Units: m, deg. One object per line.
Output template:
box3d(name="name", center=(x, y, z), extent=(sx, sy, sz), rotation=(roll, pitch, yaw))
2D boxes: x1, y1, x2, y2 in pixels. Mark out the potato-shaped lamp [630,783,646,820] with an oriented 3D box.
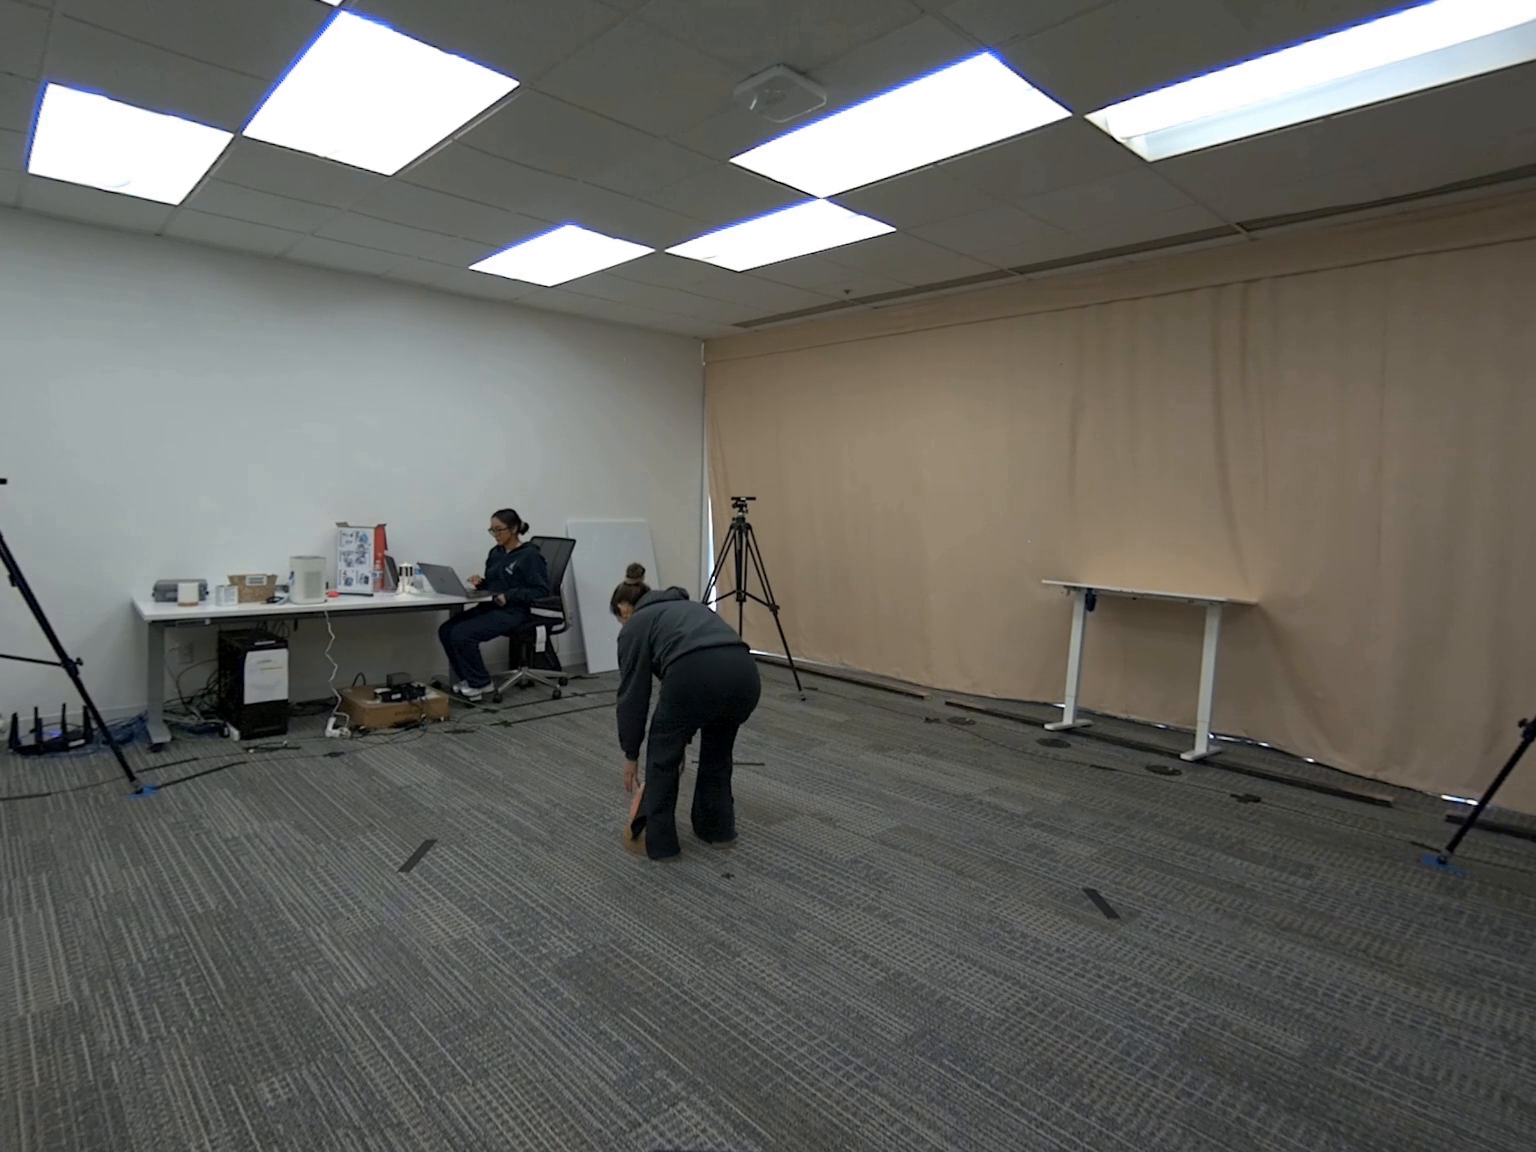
box3d(name="potato-shaped lamp", center=(-0.498, 0.956, 3.565), extent=(0.176, 0.198, 0.161), rotation=(5, 3, 44))
